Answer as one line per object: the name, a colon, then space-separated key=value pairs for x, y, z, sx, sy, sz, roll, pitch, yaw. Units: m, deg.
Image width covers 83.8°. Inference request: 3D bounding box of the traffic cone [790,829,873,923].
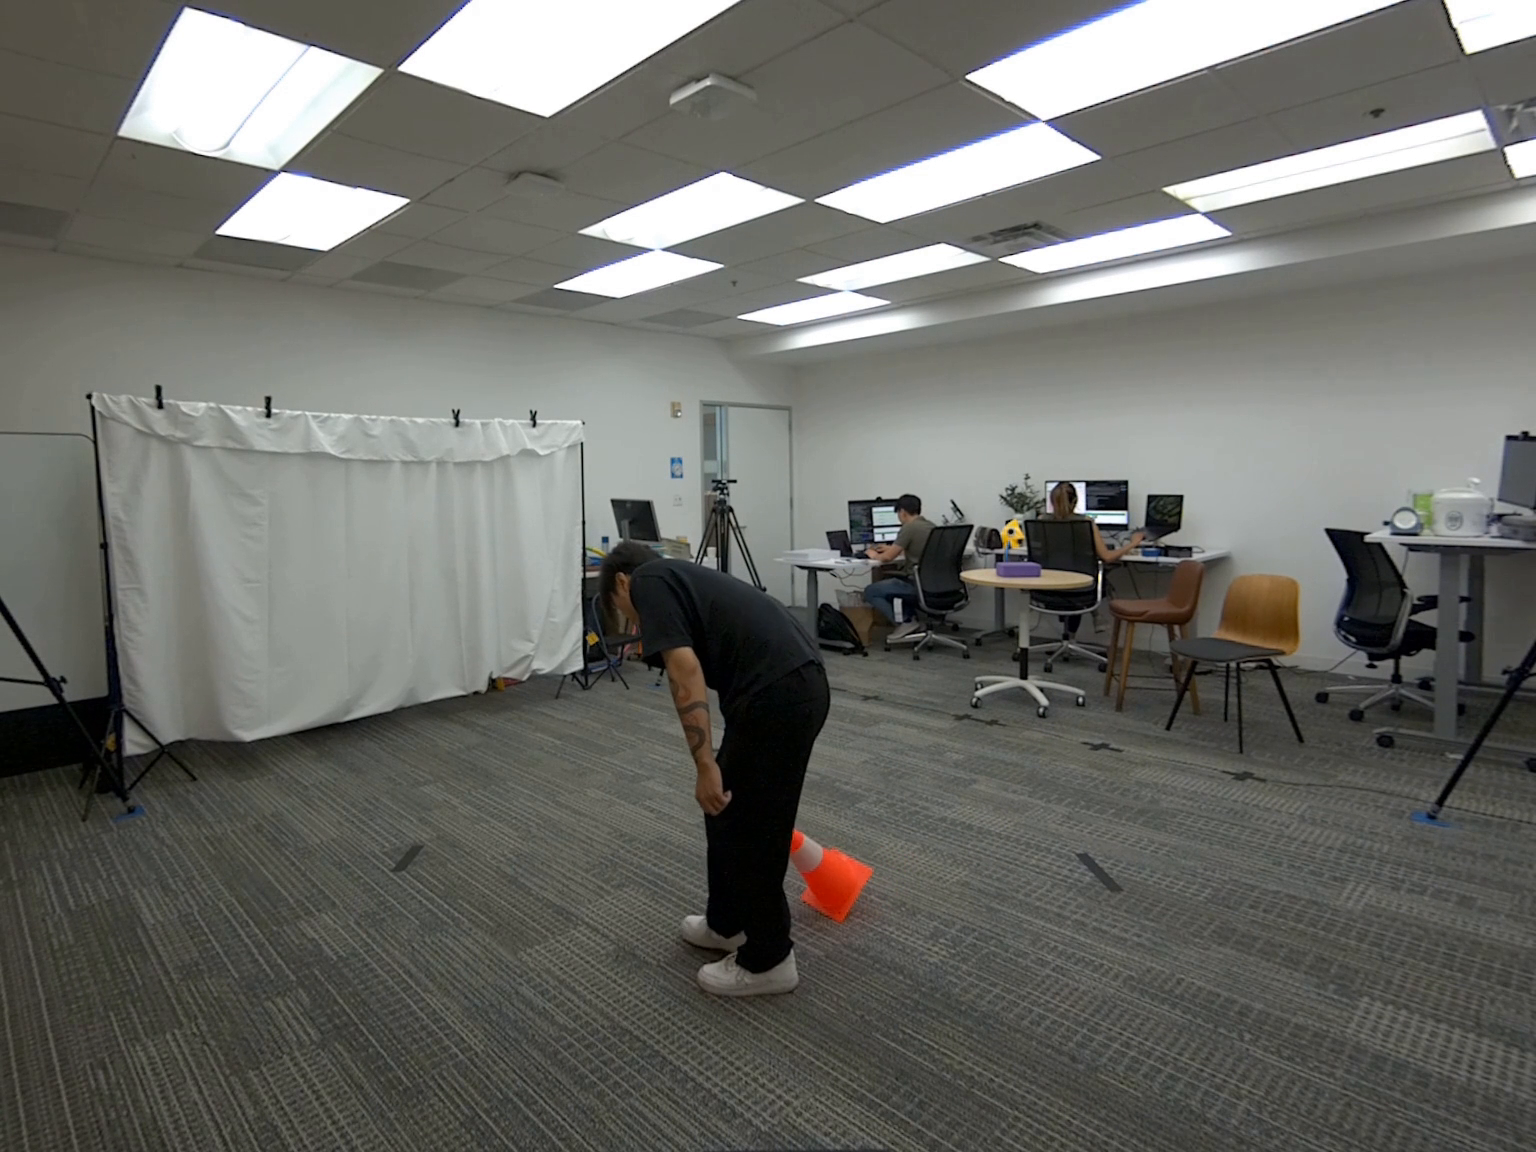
traffic cone: x=0.132 y=0.888 z=2.720 sx=0.205 sy=0.372 sz=0.209 roll=-45 pitch=27 yaw=-17
